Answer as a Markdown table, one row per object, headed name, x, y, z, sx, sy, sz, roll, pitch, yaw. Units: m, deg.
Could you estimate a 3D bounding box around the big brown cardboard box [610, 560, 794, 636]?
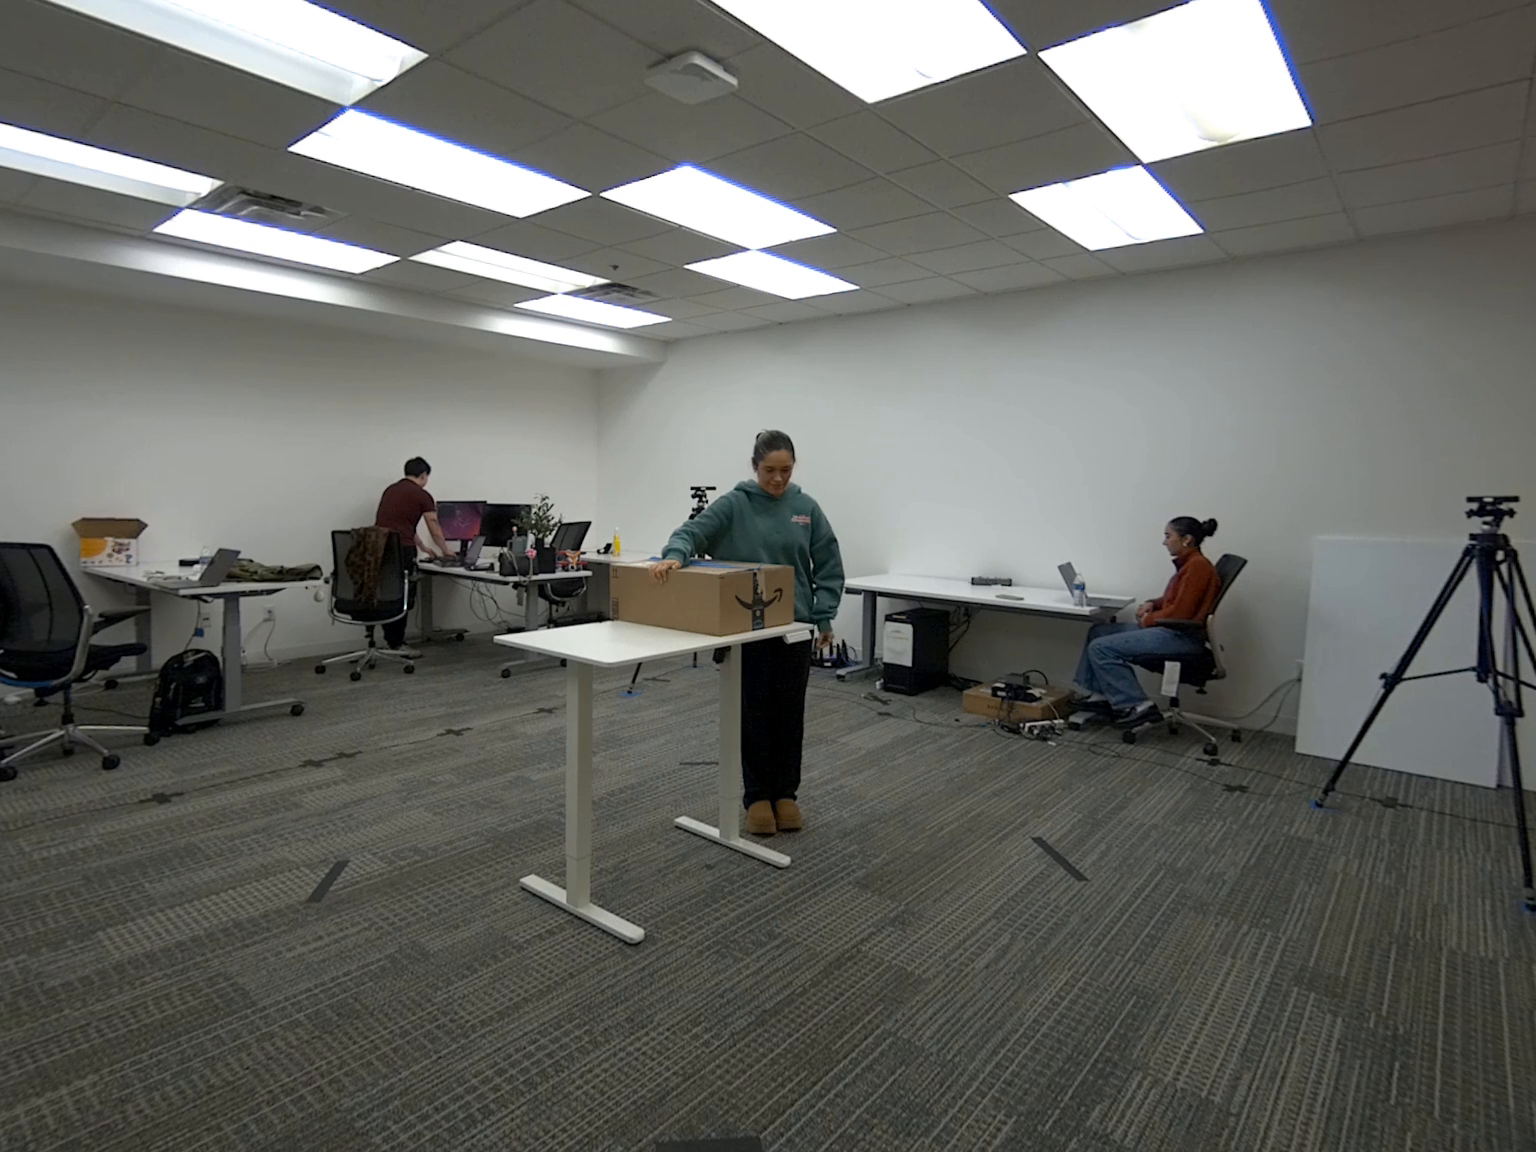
| name | x | y | z | sx | sy | sz | roll | pitch | yaw |
| --- | --- | --- | --- | --- | --- | --- | --- | --- | --- |
| big brown cardboard box | -0.263 | 0.064 | 3.225 | 0.609 | 0.232 | 0.405 | 6 | 8 | 40 |
